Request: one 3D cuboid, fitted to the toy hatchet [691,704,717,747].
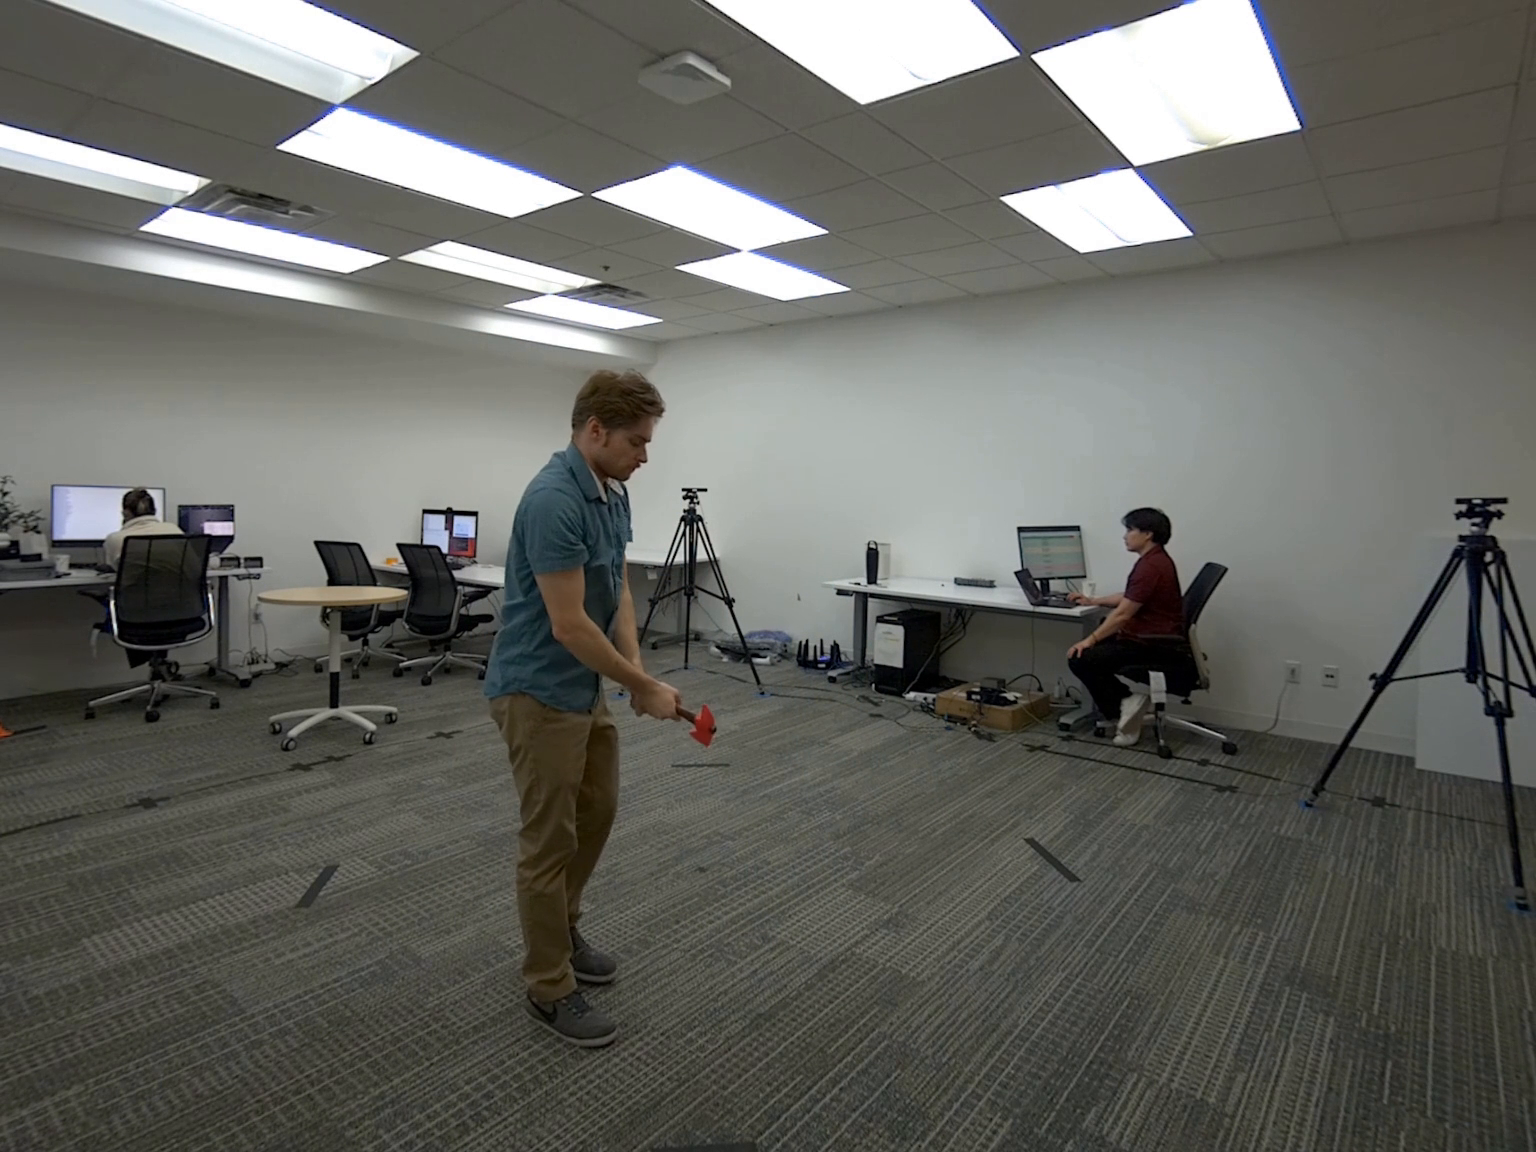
[{"bbox_3d":[-0.232,0.354,2.141,0.277,0.128,0.029,-9,23,36],"label":"toy hatchet"}]
